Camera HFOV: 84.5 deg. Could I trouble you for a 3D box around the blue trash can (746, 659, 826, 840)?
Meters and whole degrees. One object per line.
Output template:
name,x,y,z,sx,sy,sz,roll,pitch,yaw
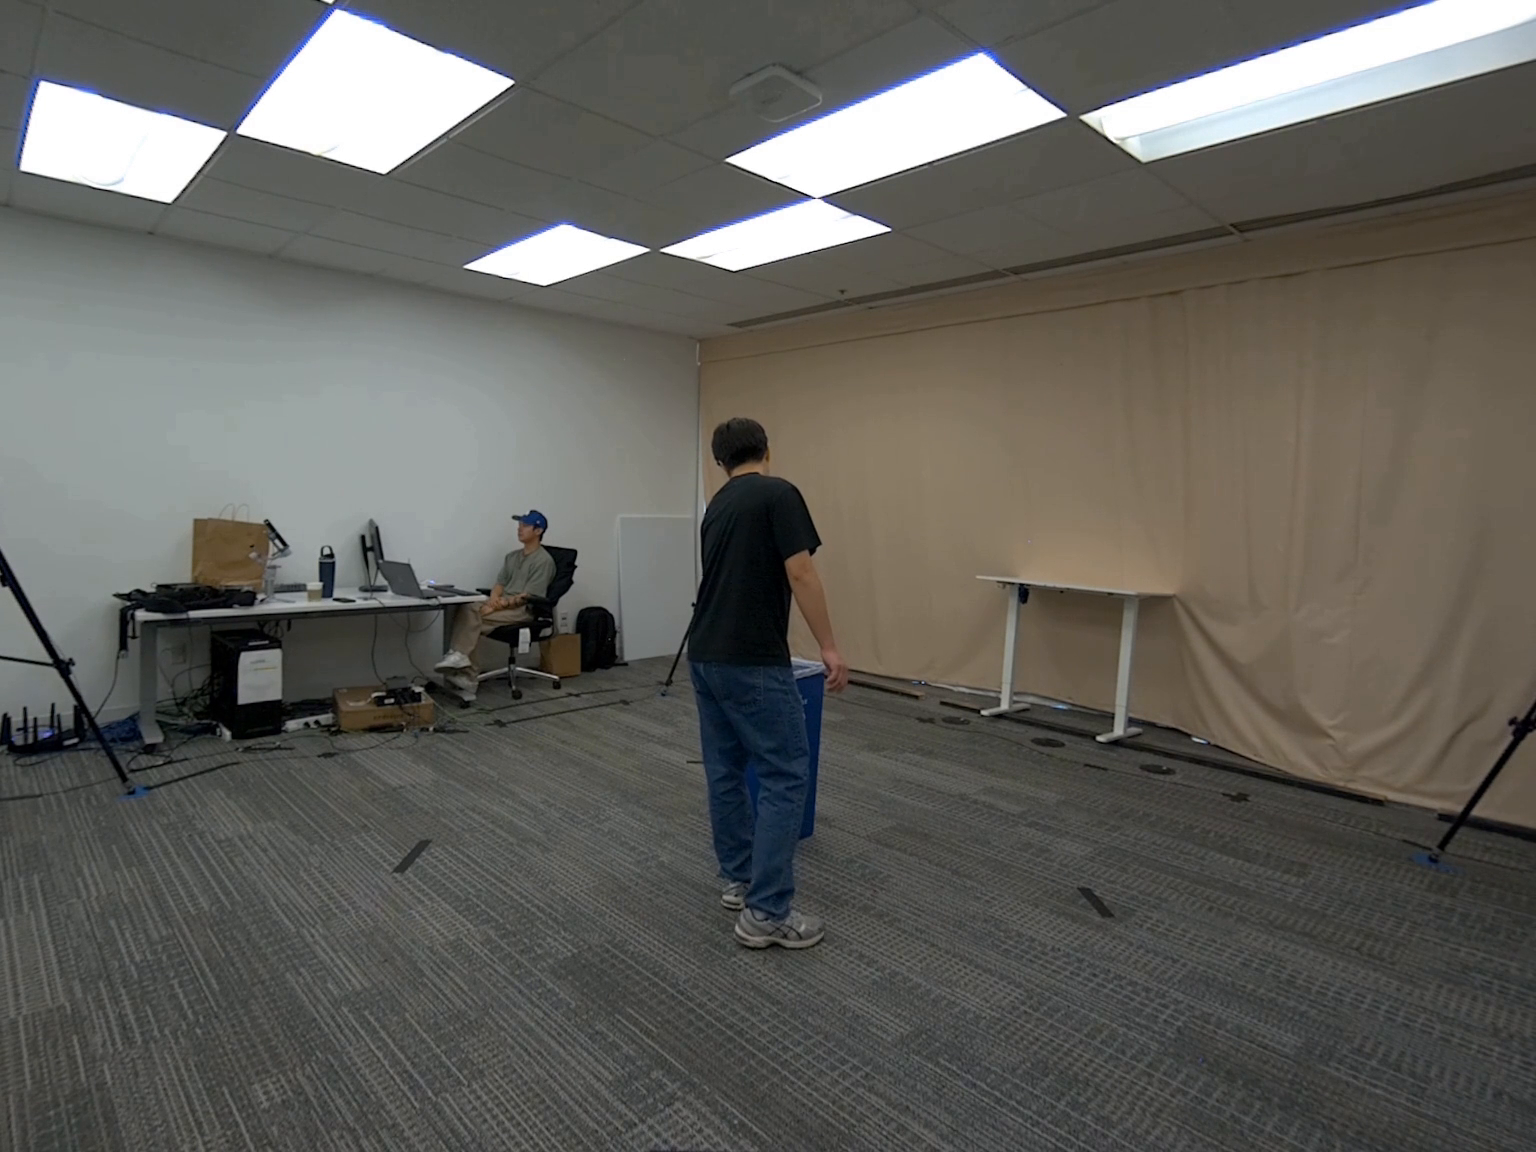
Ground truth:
blue trash can,-0.004,0.721,3.508,0.388,0.712,0.365,5,4,41
